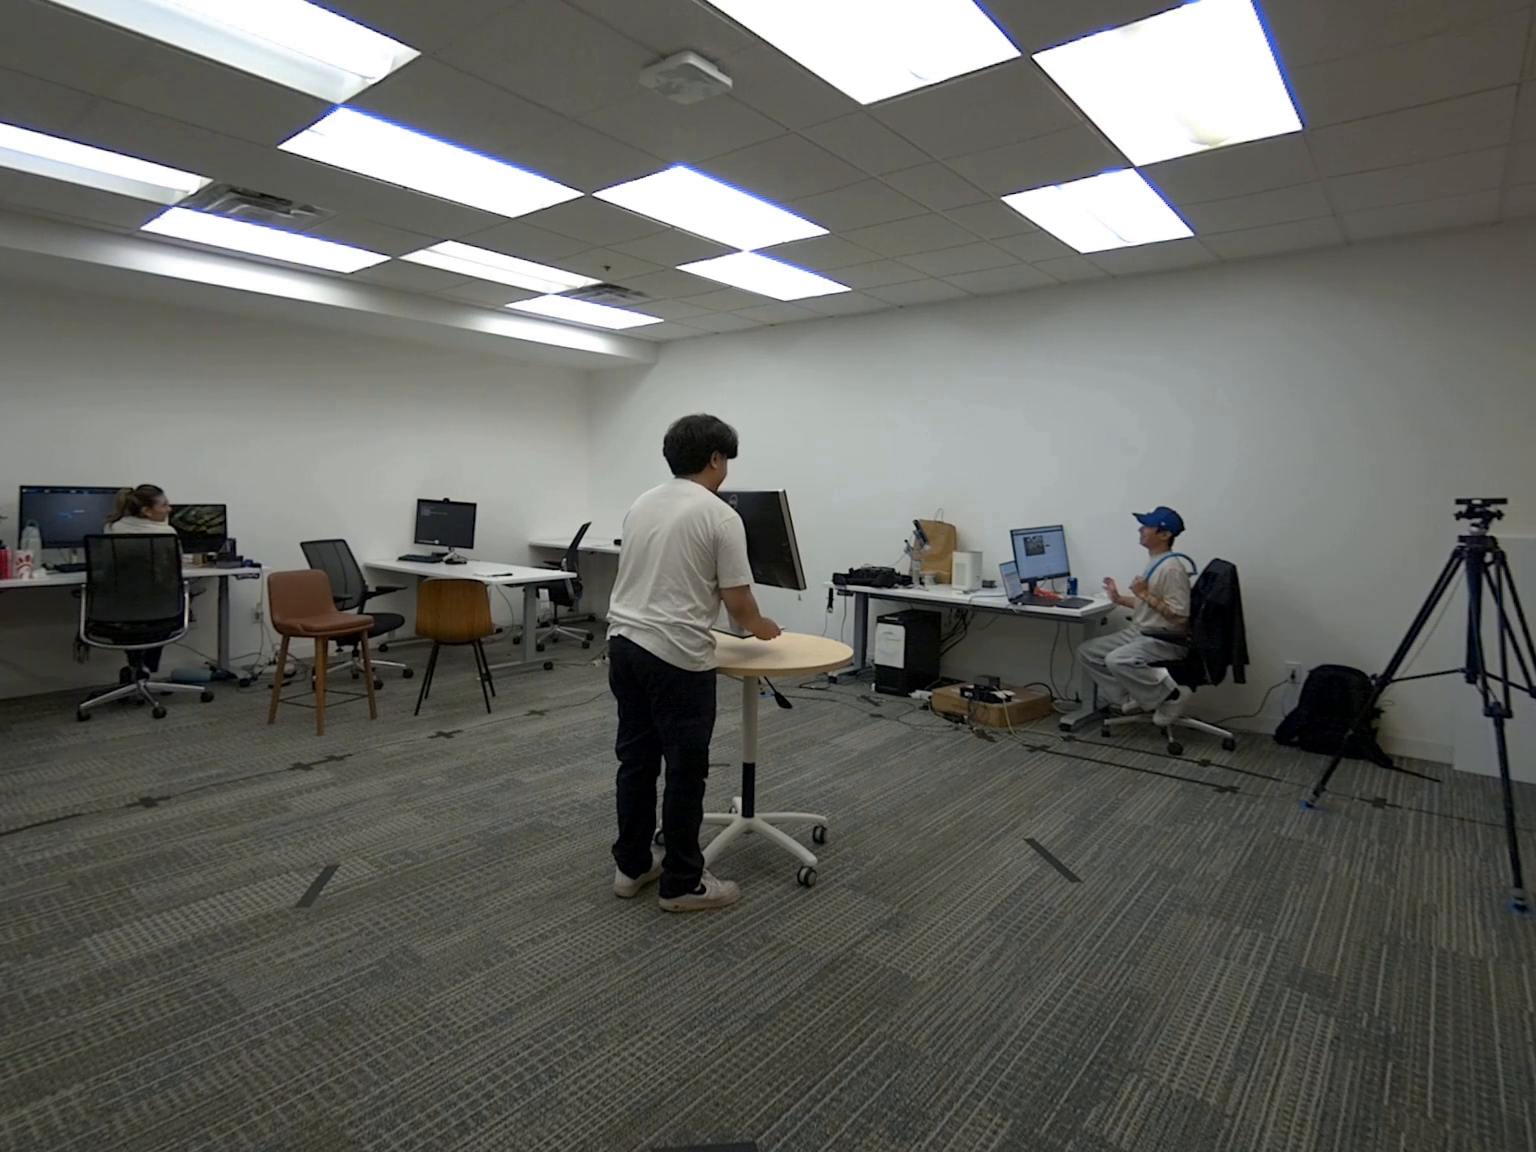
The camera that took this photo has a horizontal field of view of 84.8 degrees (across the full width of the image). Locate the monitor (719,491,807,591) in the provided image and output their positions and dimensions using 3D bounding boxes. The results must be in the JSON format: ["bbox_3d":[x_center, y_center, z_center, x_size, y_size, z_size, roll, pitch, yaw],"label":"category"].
[{"bbox_3d":[-0.133,-0.044,3.134,0.205,0.549,0.584,-12,11,-33],"label":"monitor"}]
